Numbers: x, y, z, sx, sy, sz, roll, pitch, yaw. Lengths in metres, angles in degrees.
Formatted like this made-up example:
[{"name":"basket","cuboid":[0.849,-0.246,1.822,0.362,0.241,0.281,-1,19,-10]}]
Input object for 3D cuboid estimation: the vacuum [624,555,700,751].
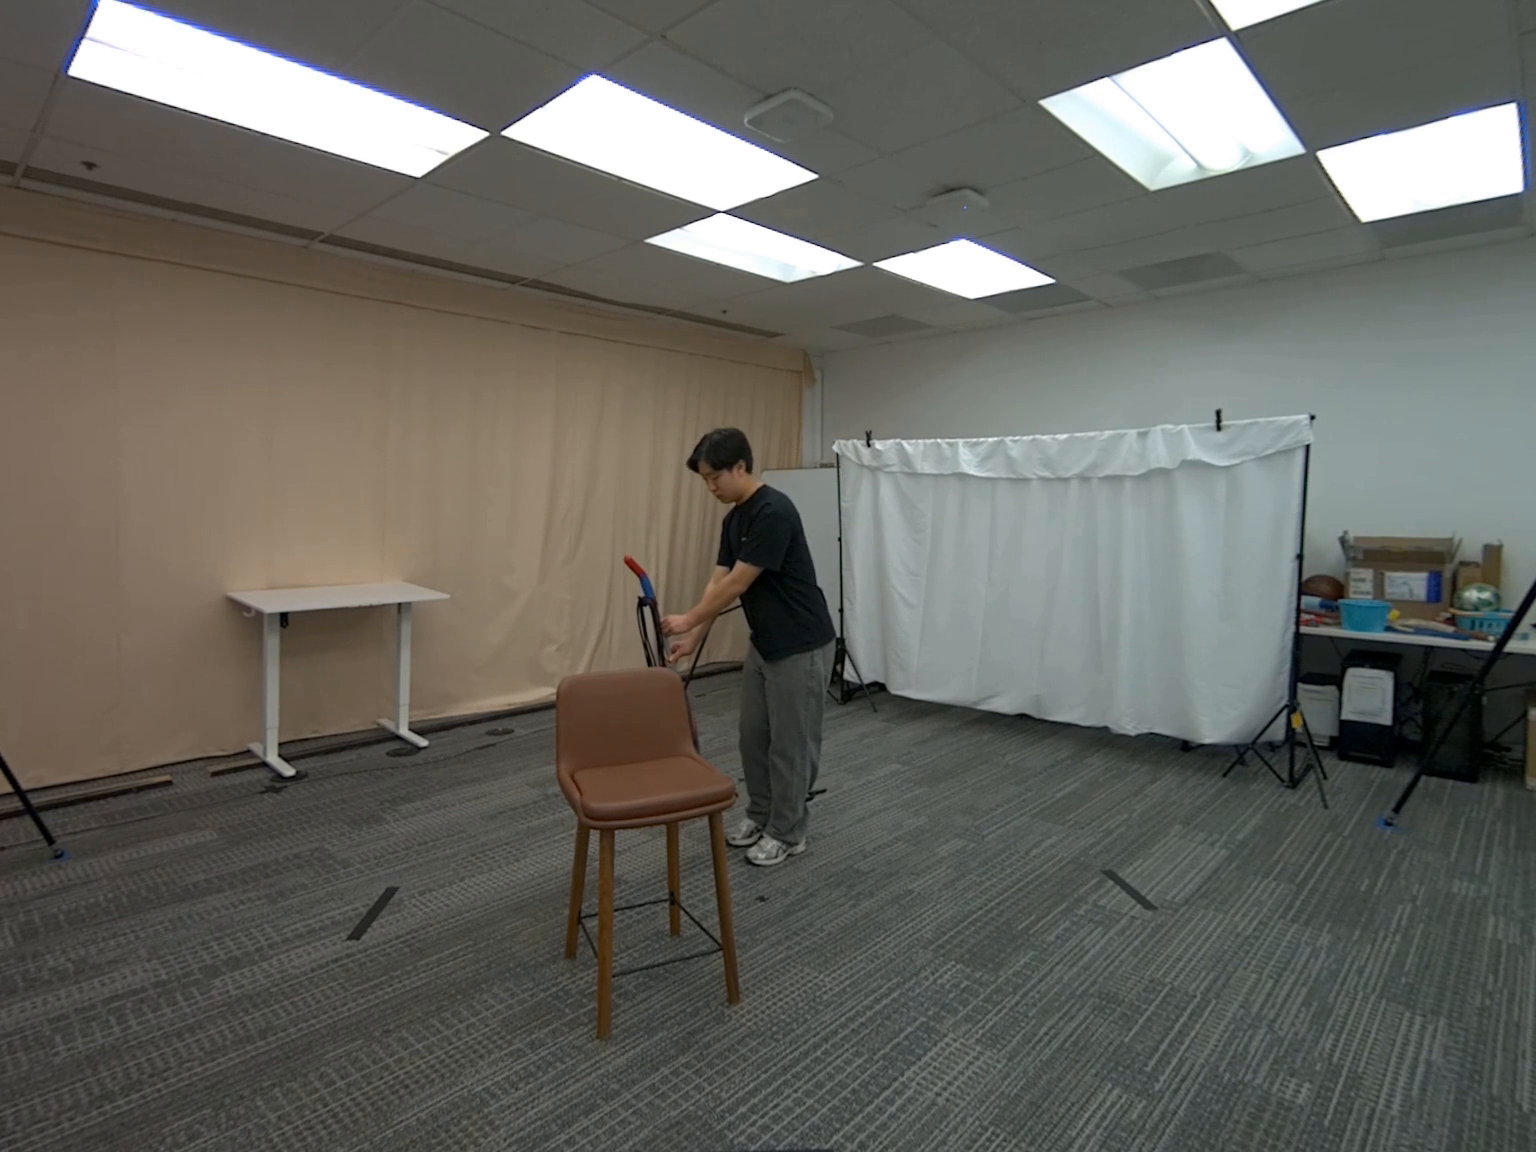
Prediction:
[{"name":"vacuum","cuboid":[-0.392,0.403,3.267,0.141,1.032,0.261,-27,23,-33]}]
